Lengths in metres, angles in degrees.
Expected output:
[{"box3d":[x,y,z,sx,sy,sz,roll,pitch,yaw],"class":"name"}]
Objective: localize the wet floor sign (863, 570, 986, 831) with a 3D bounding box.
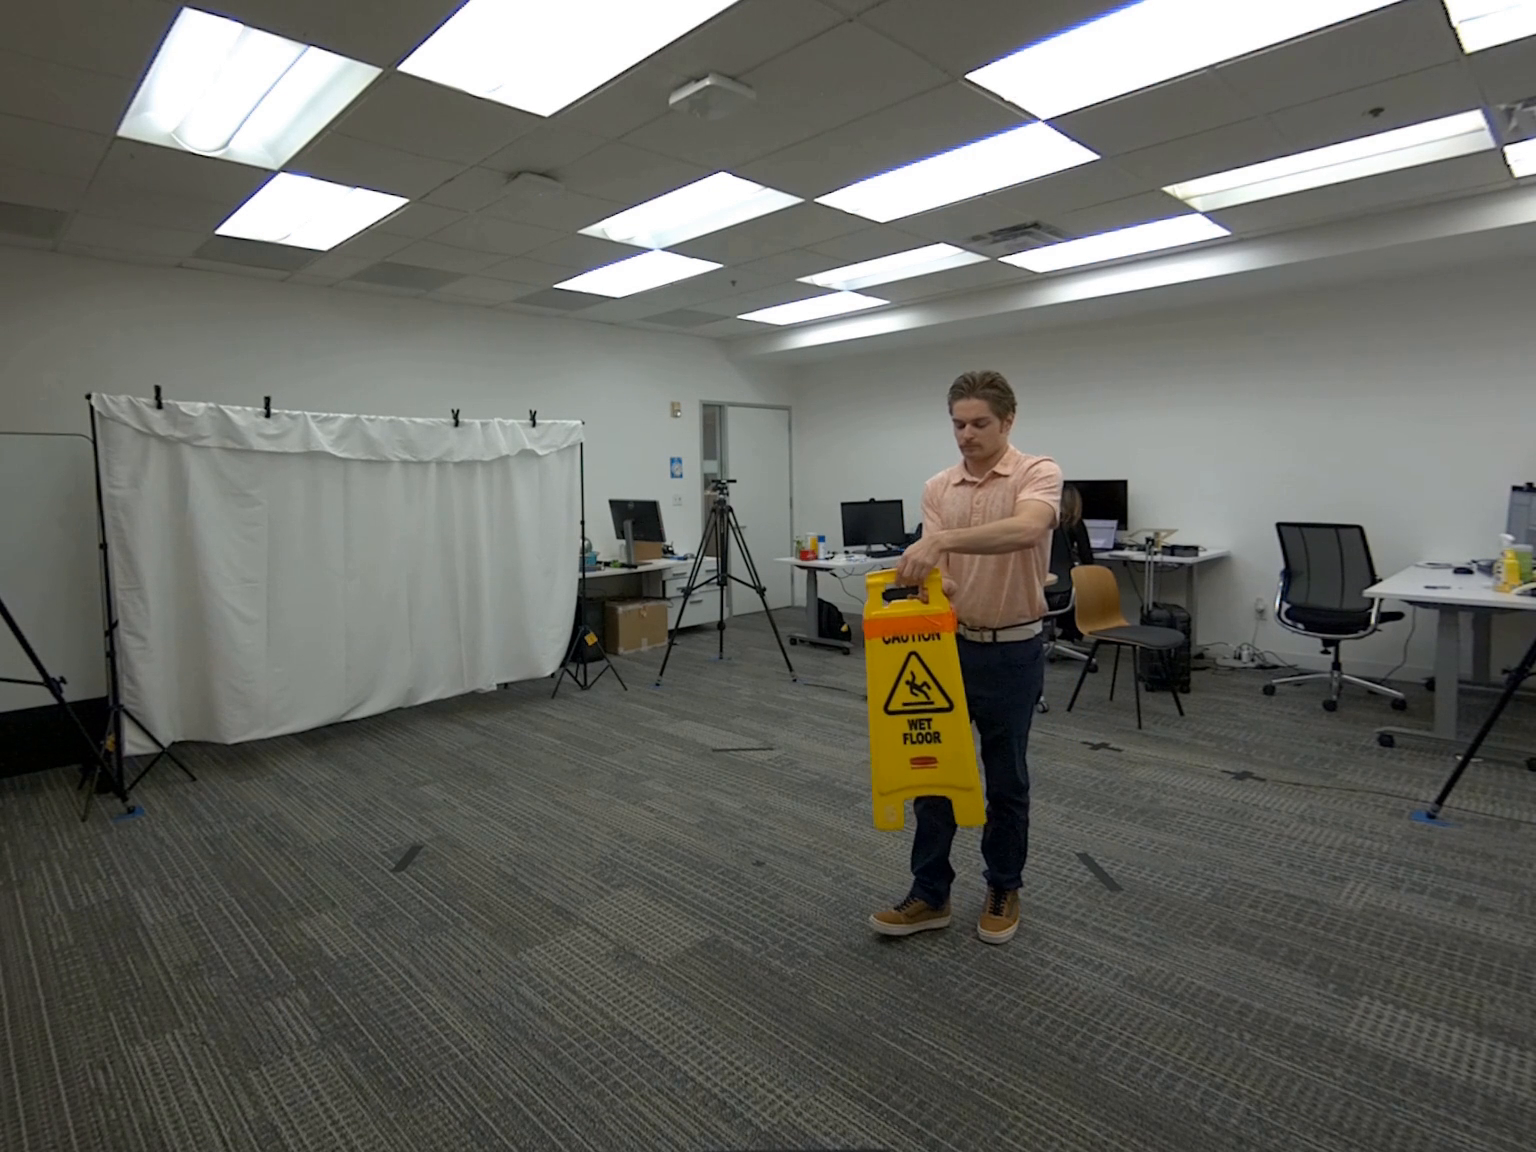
[{"box3d":[0.404,0.309,2.276,0.284,0.647,0.288,-5,-1,5],"class":"wet floor sign"}]
